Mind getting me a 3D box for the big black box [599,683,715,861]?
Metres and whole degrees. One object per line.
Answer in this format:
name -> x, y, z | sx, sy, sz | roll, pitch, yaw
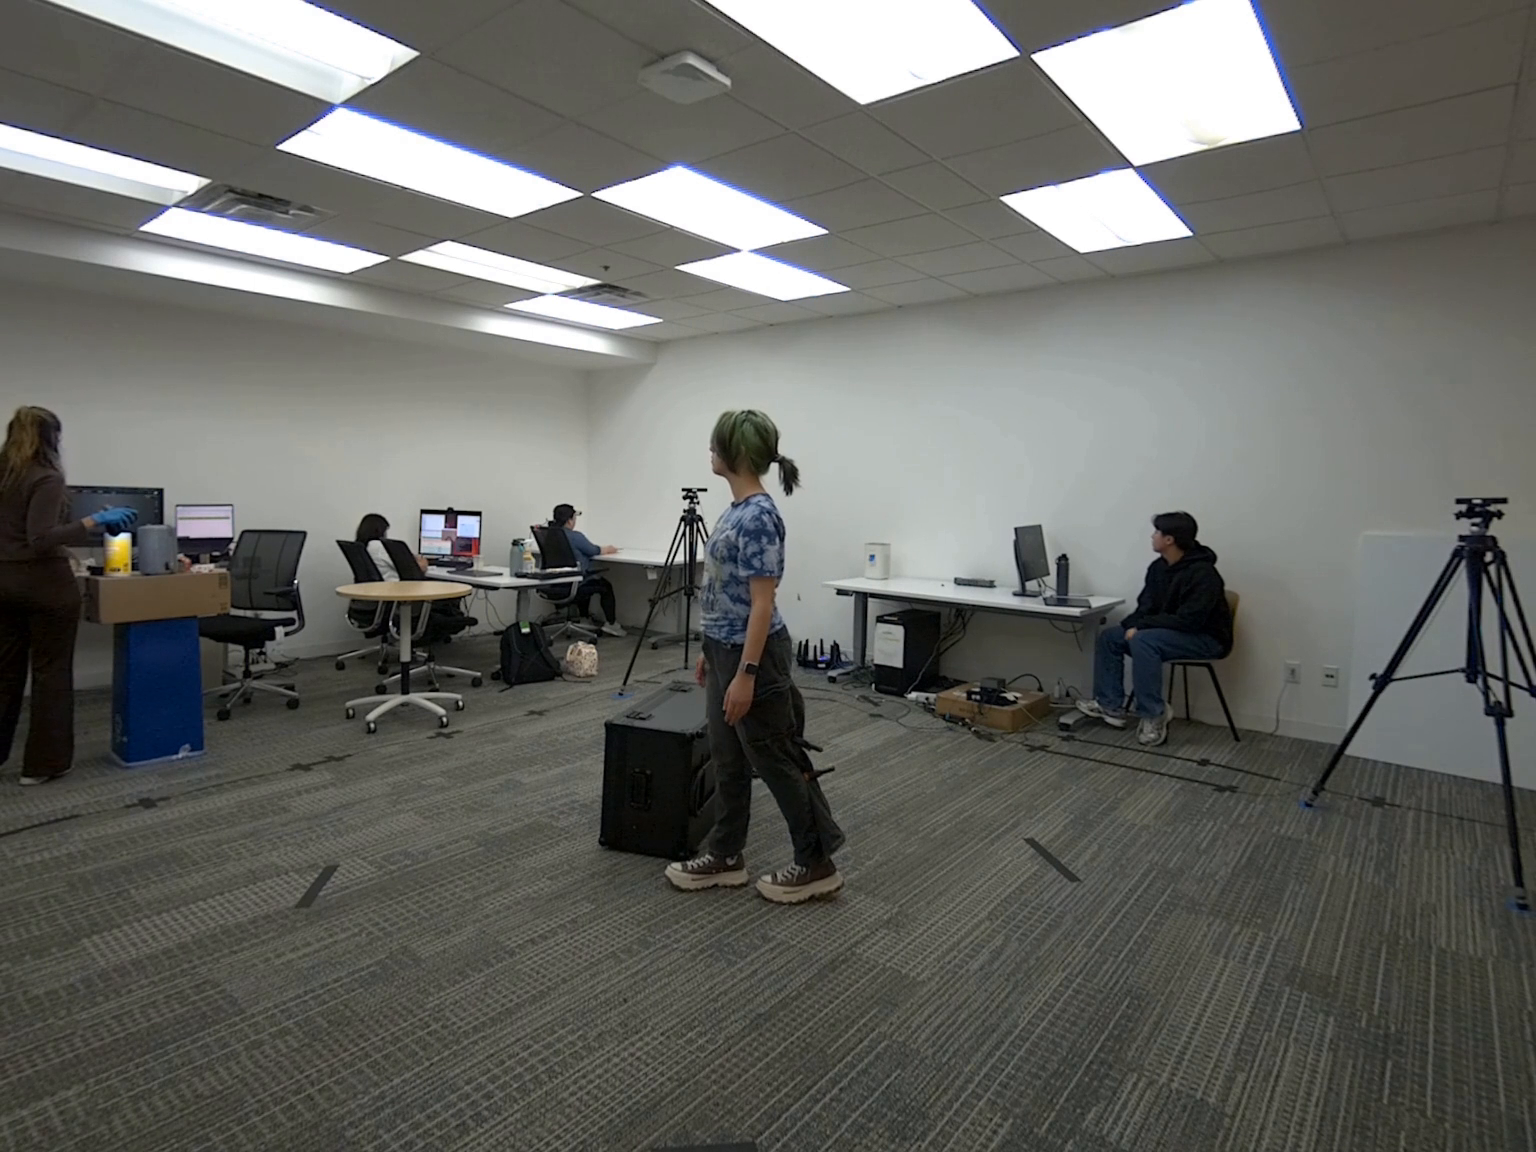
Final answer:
big black box -> -0.360, 0.764, 3.593 | 0.403, 0.519, 0.851 | 4, 6, 14
